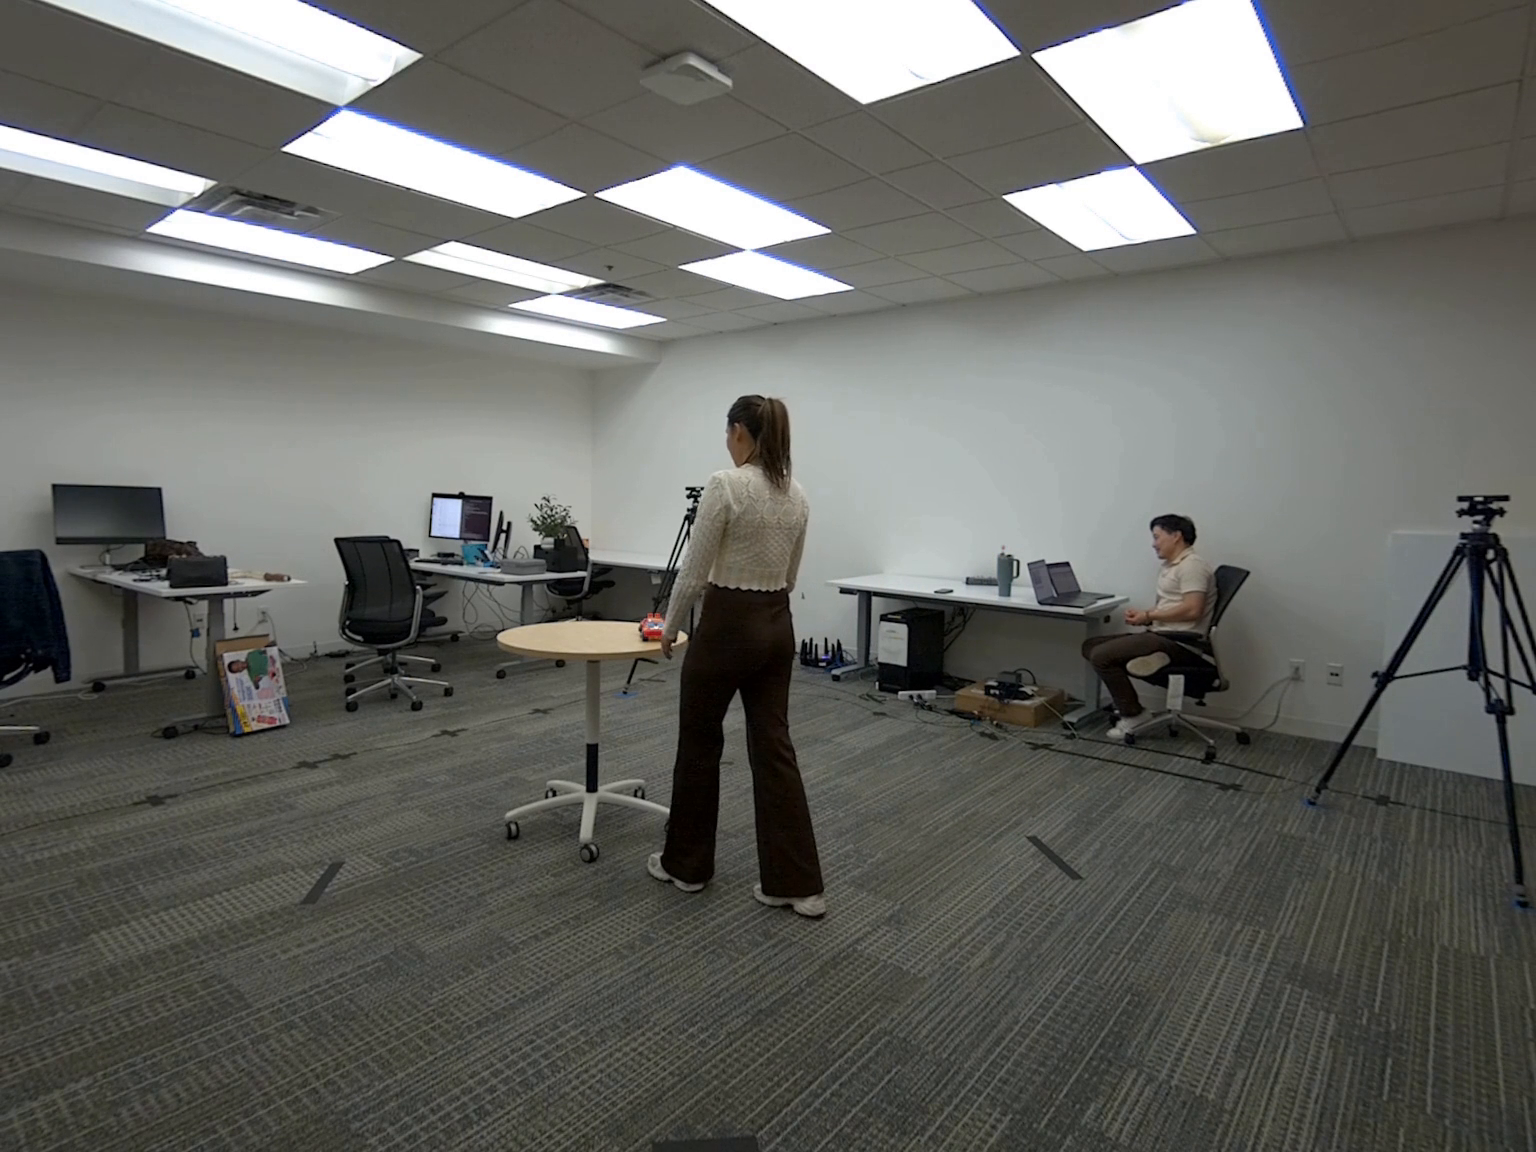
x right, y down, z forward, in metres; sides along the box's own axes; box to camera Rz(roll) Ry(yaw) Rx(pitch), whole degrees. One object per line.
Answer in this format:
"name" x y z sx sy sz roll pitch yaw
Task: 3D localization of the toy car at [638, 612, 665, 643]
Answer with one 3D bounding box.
"toy car" -0.472 0.211 3.467 0.129 0.082 0.260 1 18 -9
